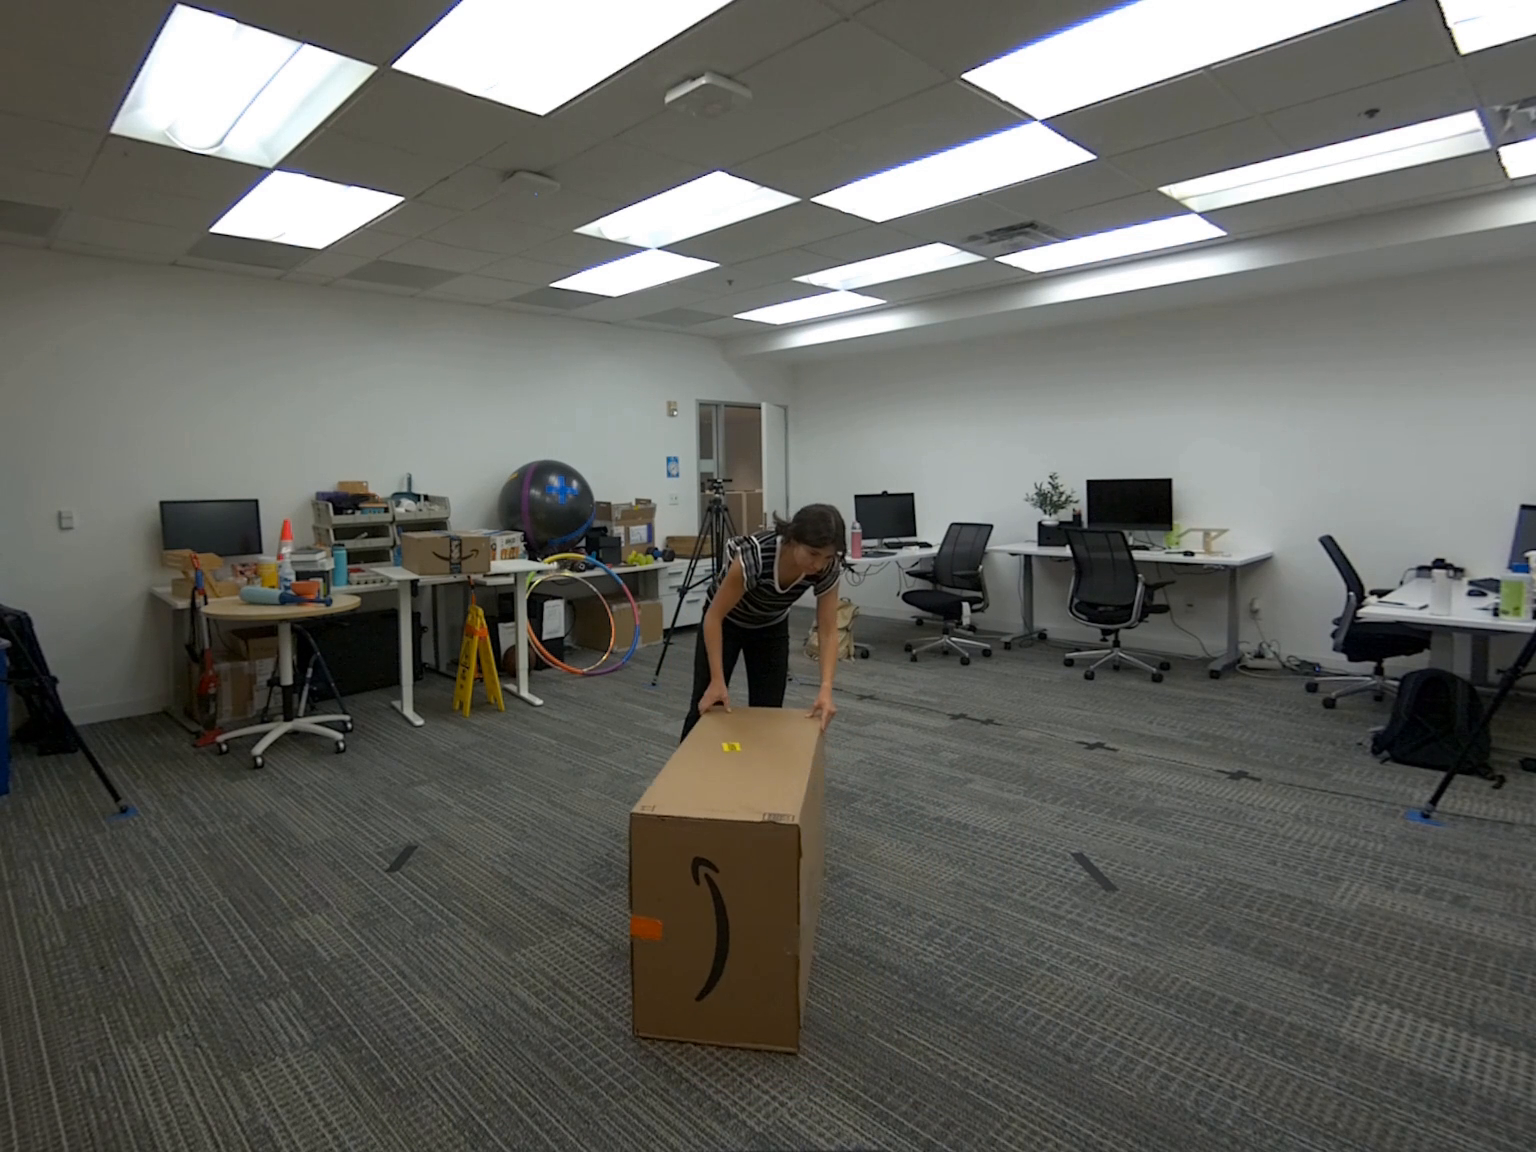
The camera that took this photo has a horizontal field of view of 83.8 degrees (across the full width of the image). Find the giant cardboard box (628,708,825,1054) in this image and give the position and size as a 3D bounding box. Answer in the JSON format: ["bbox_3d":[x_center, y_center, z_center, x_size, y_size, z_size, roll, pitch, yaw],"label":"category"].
[{"bbox_3d":[-0.071,0.817,2.585,0.430,0.575,1.021,0,6,8],"label":"giant cardboard box"}]
